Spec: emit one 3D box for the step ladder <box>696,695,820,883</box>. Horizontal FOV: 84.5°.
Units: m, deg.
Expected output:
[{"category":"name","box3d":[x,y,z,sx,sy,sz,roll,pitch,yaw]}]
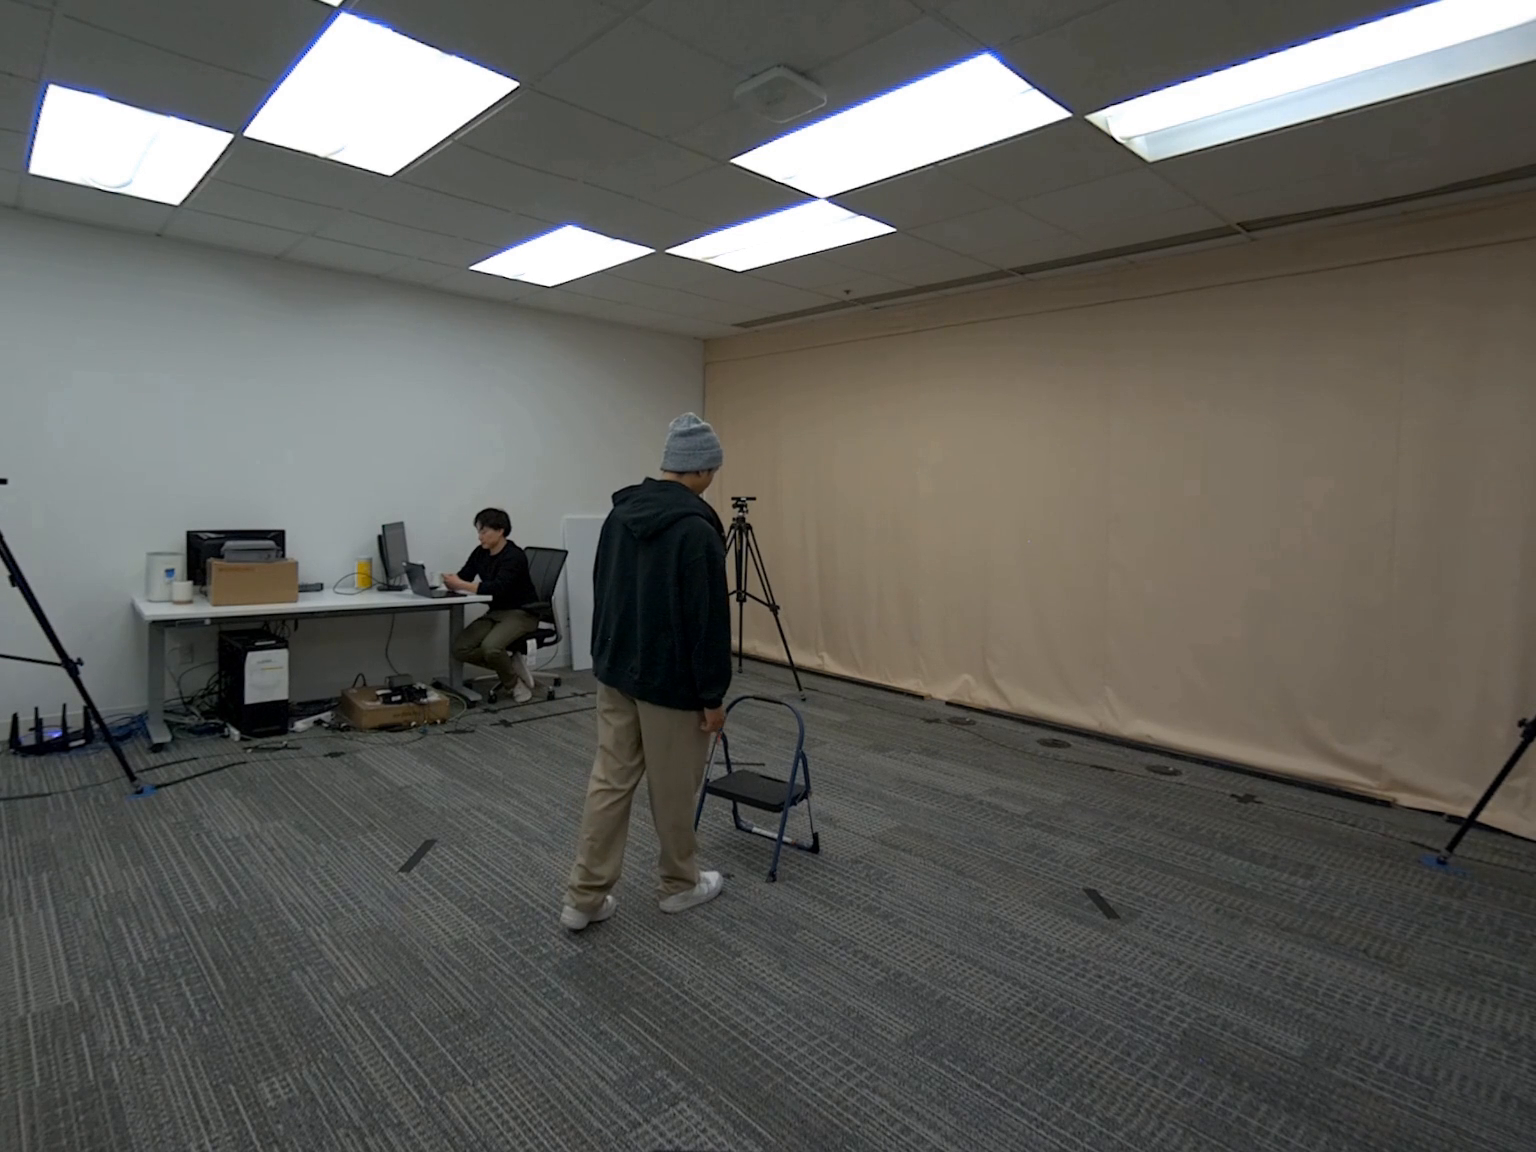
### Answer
[{"category":"step ladder","box3d":[-0.055,0.788,3.305,0.441,0.604,0.342,4,4,36]}]
